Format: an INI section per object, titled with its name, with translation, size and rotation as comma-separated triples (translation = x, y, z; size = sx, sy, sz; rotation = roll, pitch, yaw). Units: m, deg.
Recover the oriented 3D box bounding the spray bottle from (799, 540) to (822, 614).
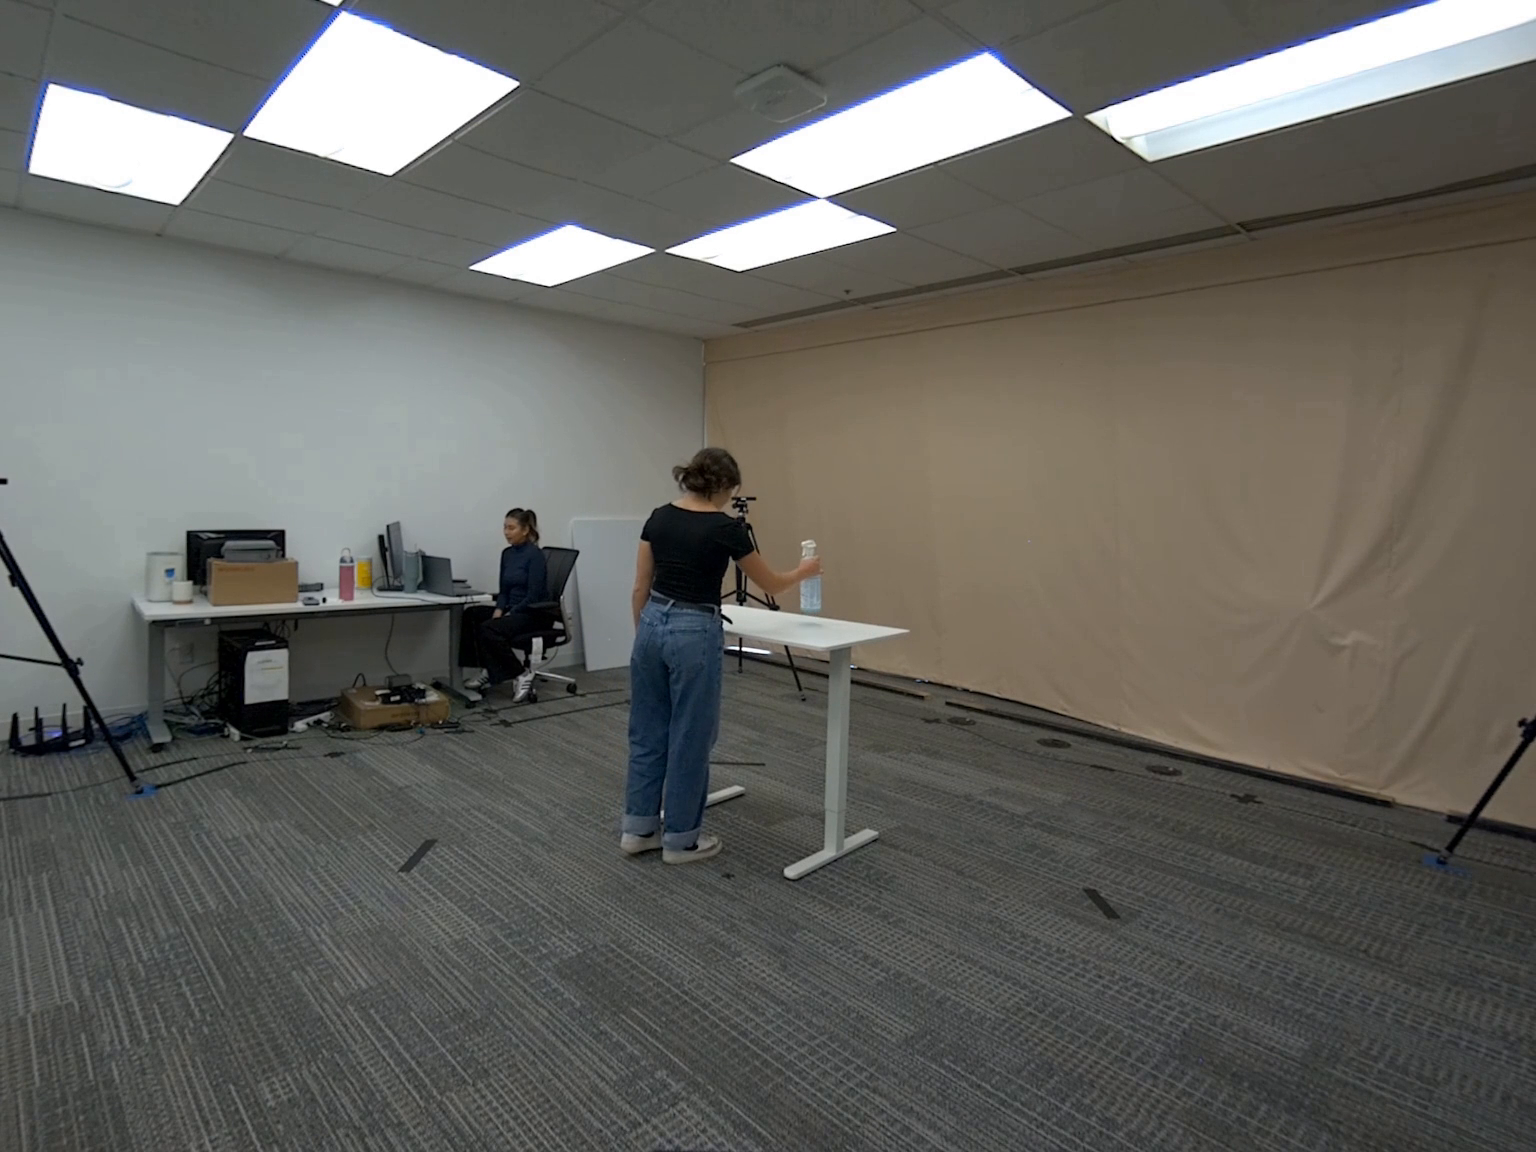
[spray bottle]
translation = 0.165, -0.003, 3.459
size = 0.089, 0.294, 0.089
rotation = -9, 15, -25
